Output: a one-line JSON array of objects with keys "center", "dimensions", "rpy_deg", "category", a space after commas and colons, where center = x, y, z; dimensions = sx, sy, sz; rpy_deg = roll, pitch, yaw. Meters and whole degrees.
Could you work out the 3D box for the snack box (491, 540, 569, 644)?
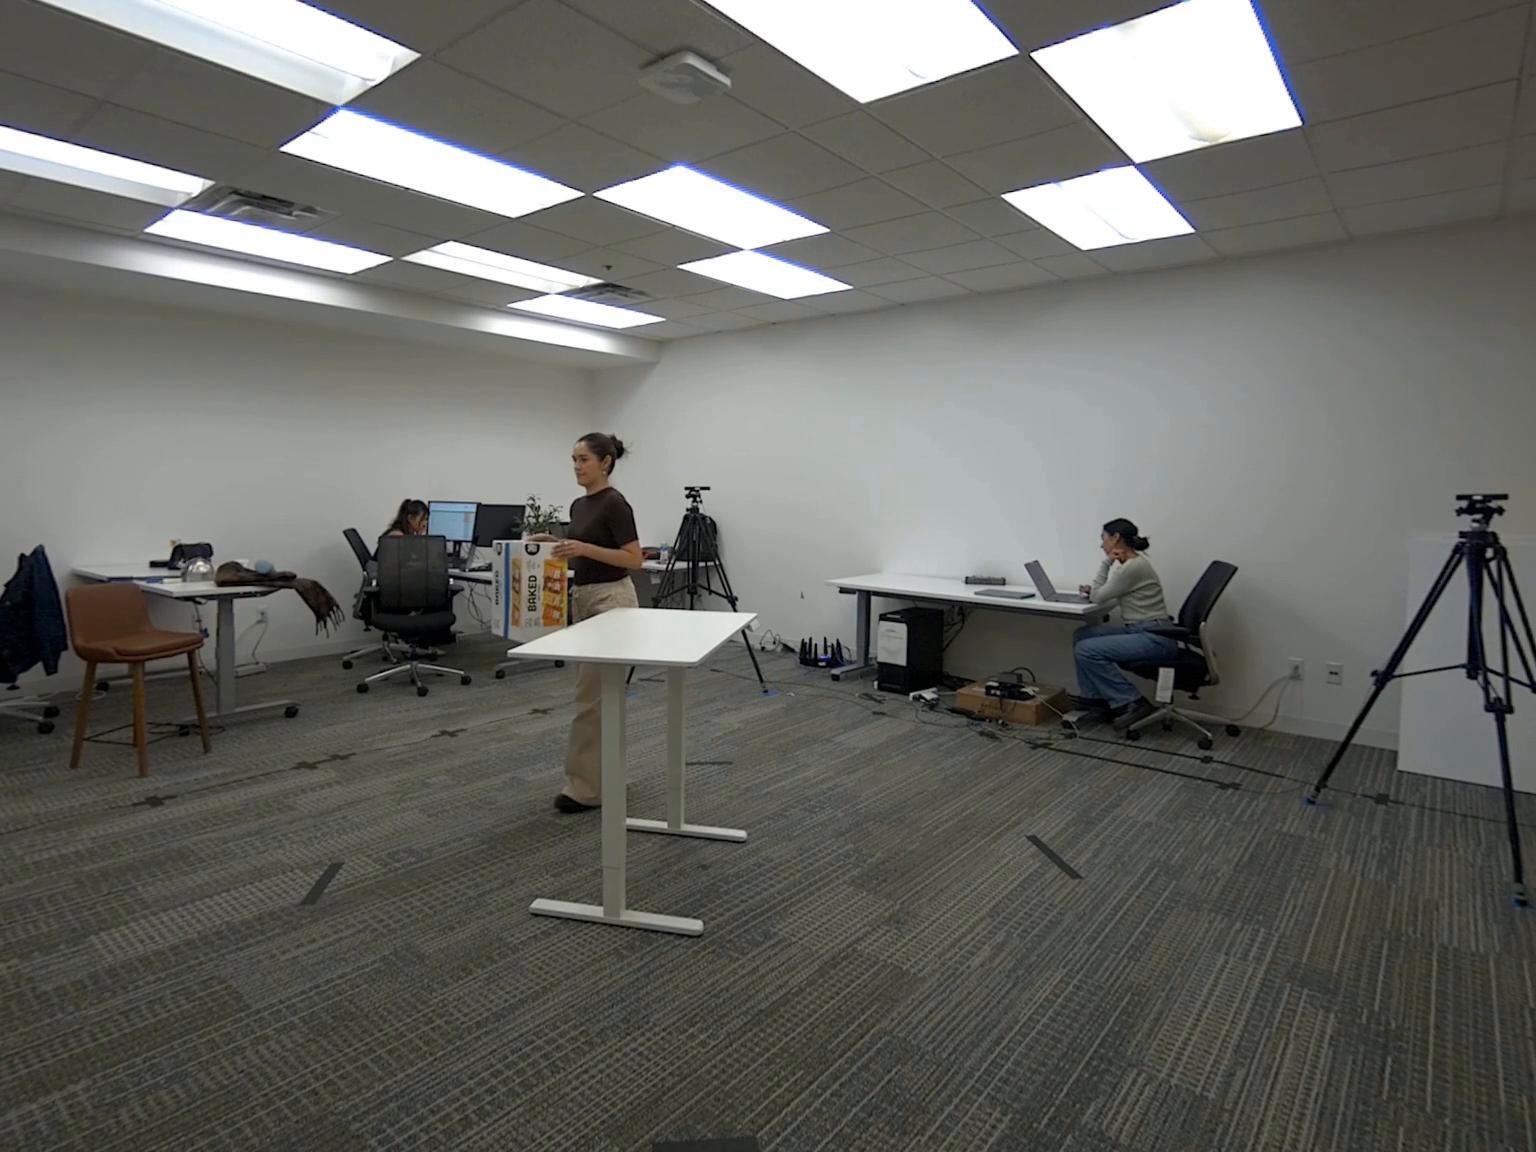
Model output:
[{"center": [-1.034, 0.053, 3.622], "dimensions": [0.199, 0.405, 0.351], "rpy_deg": [0, 2, -37], "category": "snack box"}]
